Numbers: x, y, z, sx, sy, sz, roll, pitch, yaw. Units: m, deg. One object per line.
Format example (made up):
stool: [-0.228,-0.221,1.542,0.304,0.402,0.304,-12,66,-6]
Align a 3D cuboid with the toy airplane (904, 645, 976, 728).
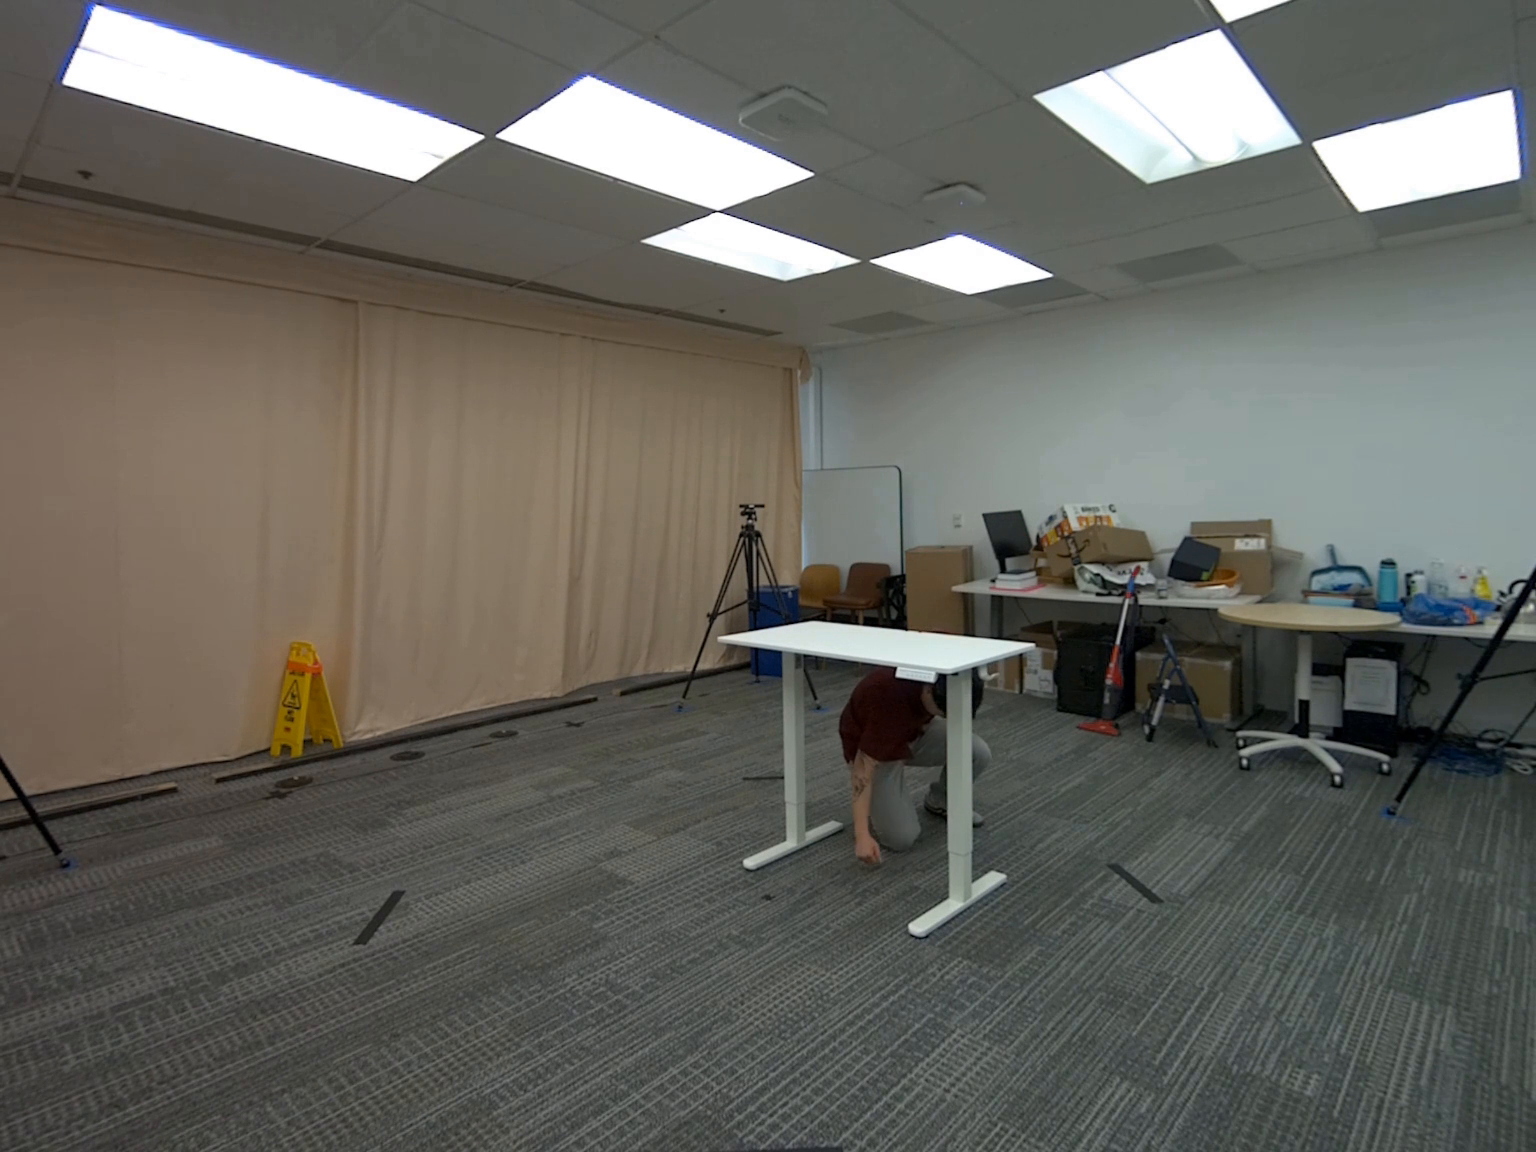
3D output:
toy airplane: [0.737,0.469,3.655,0.154,0.248,0.267,-13,16,-21]
